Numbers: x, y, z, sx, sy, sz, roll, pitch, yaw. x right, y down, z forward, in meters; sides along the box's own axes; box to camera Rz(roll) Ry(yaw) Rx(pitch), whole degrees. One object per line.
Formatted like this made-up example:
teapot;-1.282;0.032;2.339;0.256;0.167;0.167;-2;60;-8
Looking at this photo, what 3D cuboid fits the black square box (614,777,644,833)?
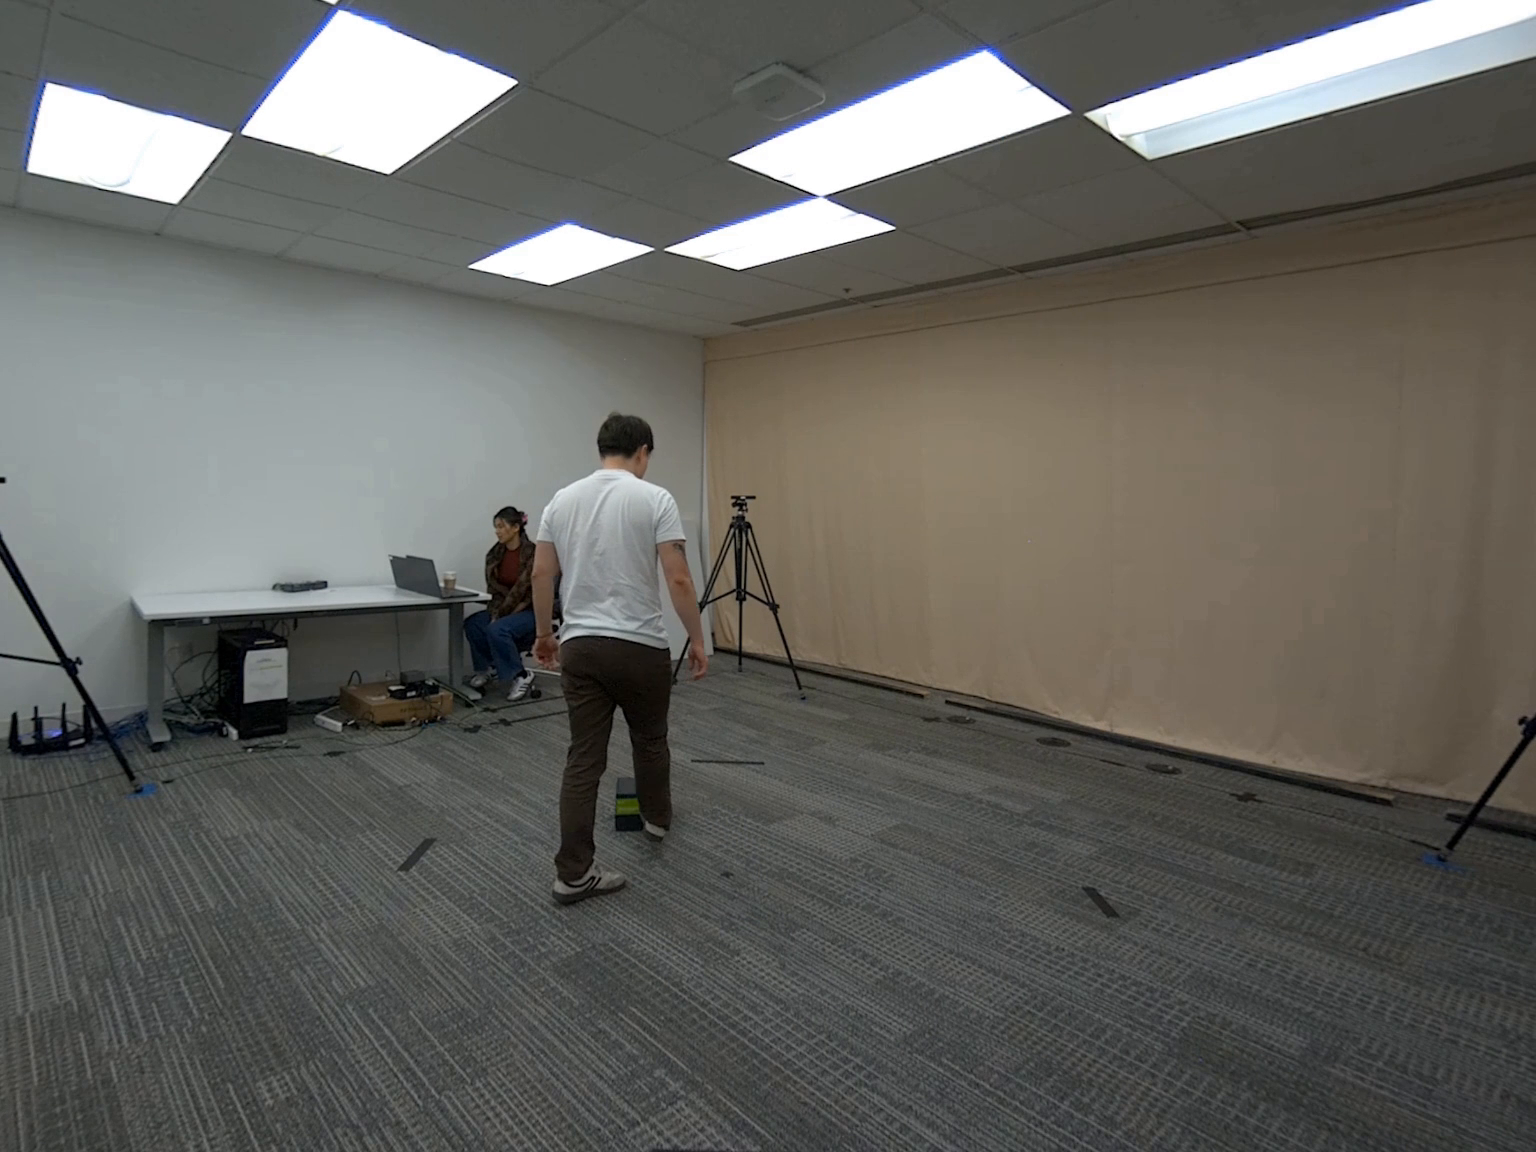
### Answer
black square box;-0.533;0.967;3.585;0.226;0.155;0.219;2;4;-8
